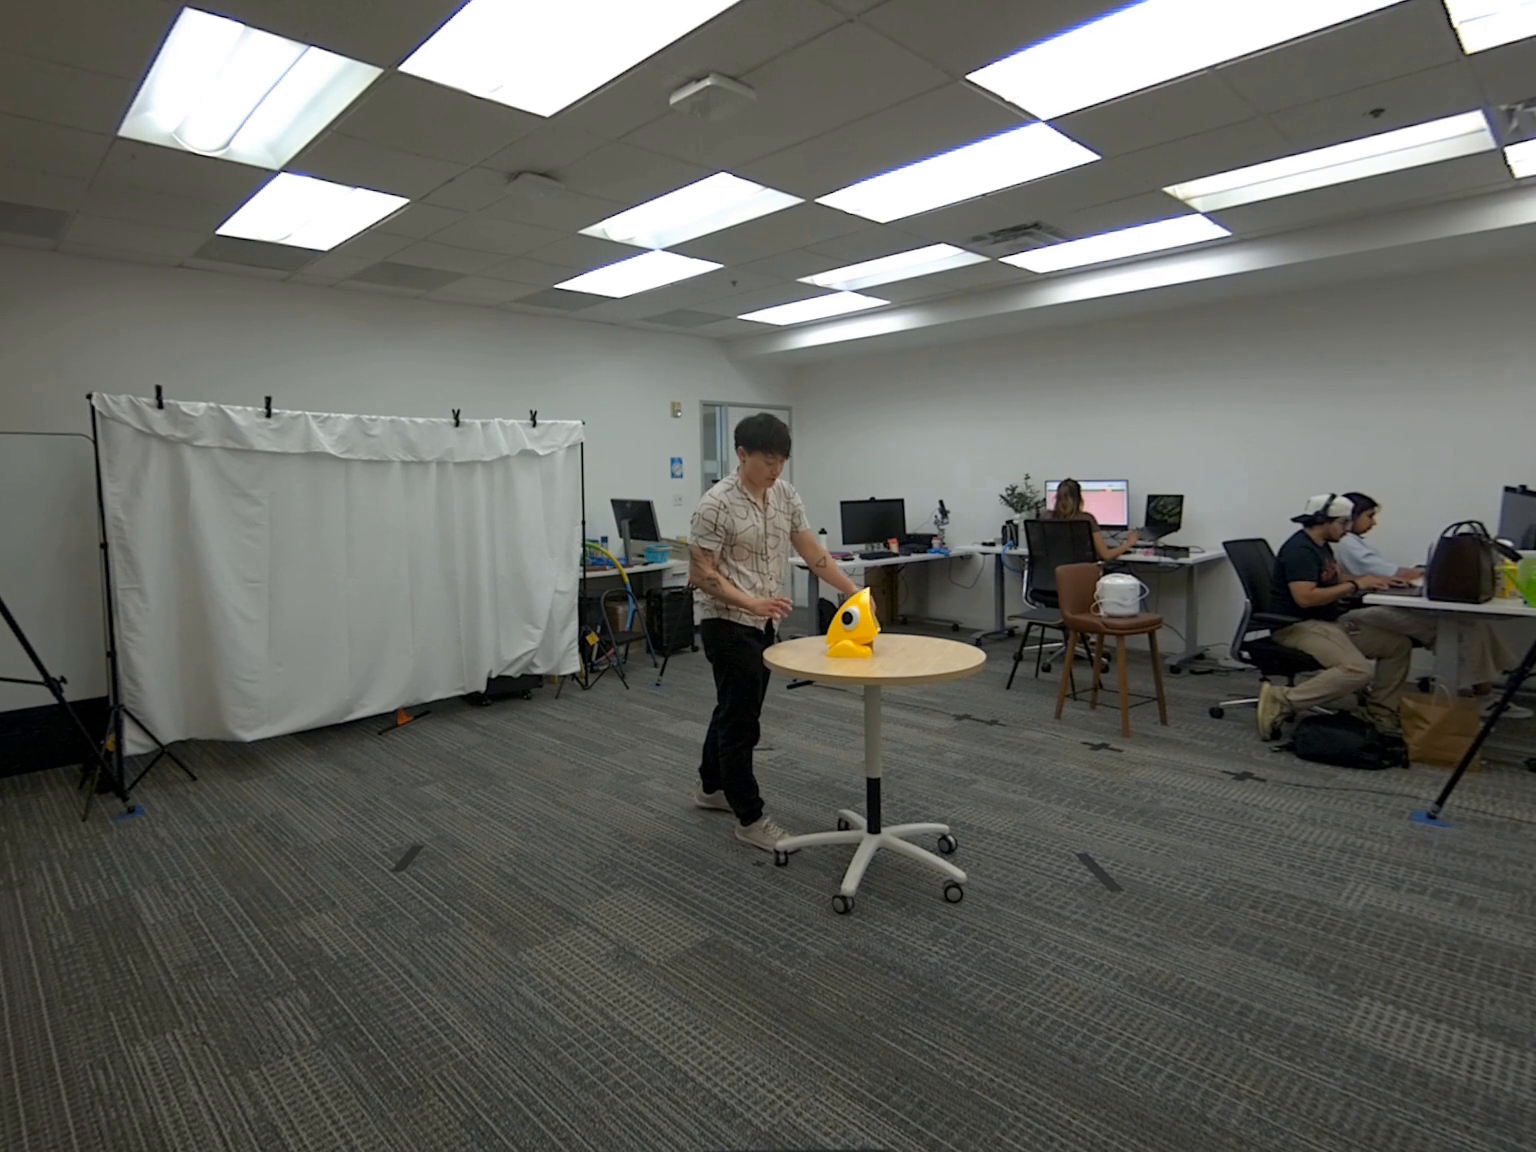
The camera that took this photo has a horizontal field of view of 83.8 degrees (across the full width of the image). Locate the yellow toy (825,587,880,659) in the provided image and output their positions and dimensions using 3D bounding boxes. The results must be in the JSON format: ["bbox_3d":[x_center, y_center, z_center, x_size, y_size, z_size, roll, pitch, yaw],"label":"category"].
[{"bbox_3d":[0.300,0.156,3.010,0.195,0.230,0.203,-1,4,11],"label":"yellow toy"}]
